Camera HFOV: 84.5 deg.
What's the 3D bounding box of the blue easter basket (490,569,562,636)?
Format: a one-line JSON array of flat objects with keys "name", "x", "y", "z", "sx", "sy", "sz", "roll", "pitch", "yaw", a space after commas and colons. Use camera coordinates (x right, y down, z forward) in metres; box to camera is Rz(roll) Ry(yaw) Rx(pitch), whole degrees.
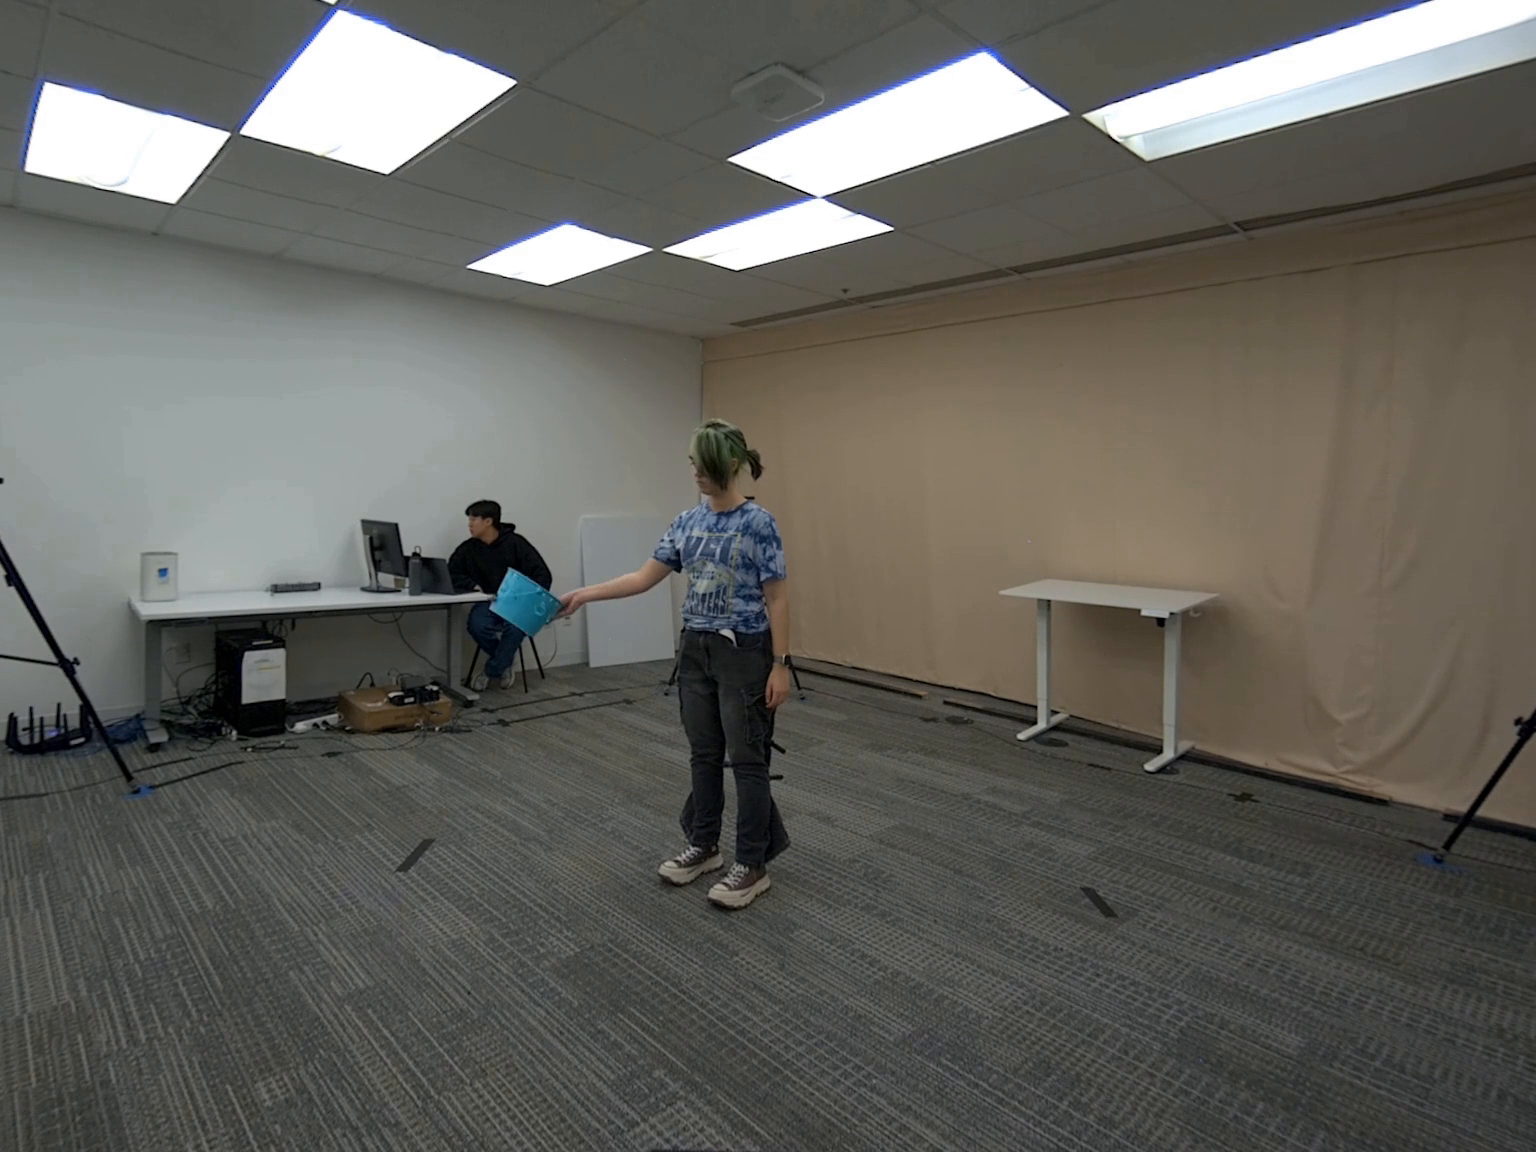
[{"name": "blue easter basket", "x": -0.842, "y": 0.096, "z": 2.922, "sx": 0.246, "sy": 0.156, "sz": 0.241, "roll": 31, "pitch": -14, "yaw": 7}]
